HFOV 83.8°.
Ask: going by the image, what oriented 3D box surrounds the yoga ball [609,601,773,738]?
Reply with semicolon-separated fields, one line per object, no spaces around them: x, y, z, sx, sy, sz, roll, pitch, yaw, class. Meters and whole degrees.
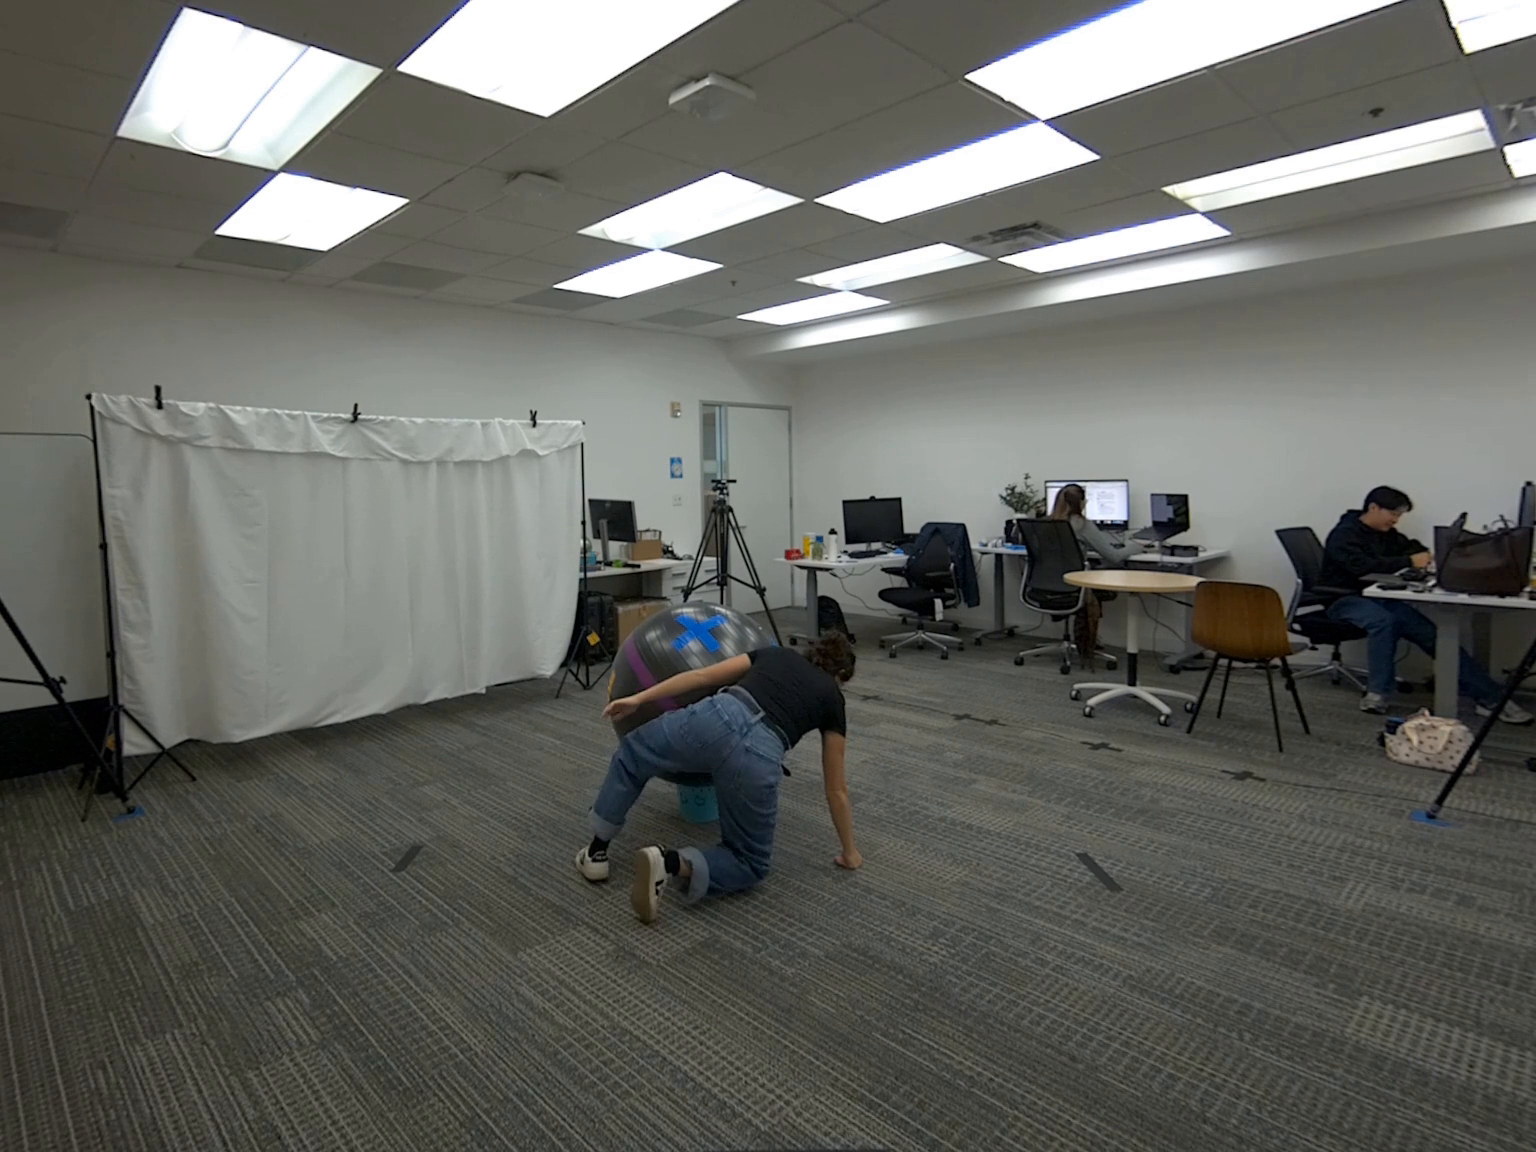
-0.297;0.488;3.579;0.757;0.755;0.762;-1;5;-2;yoga ball
